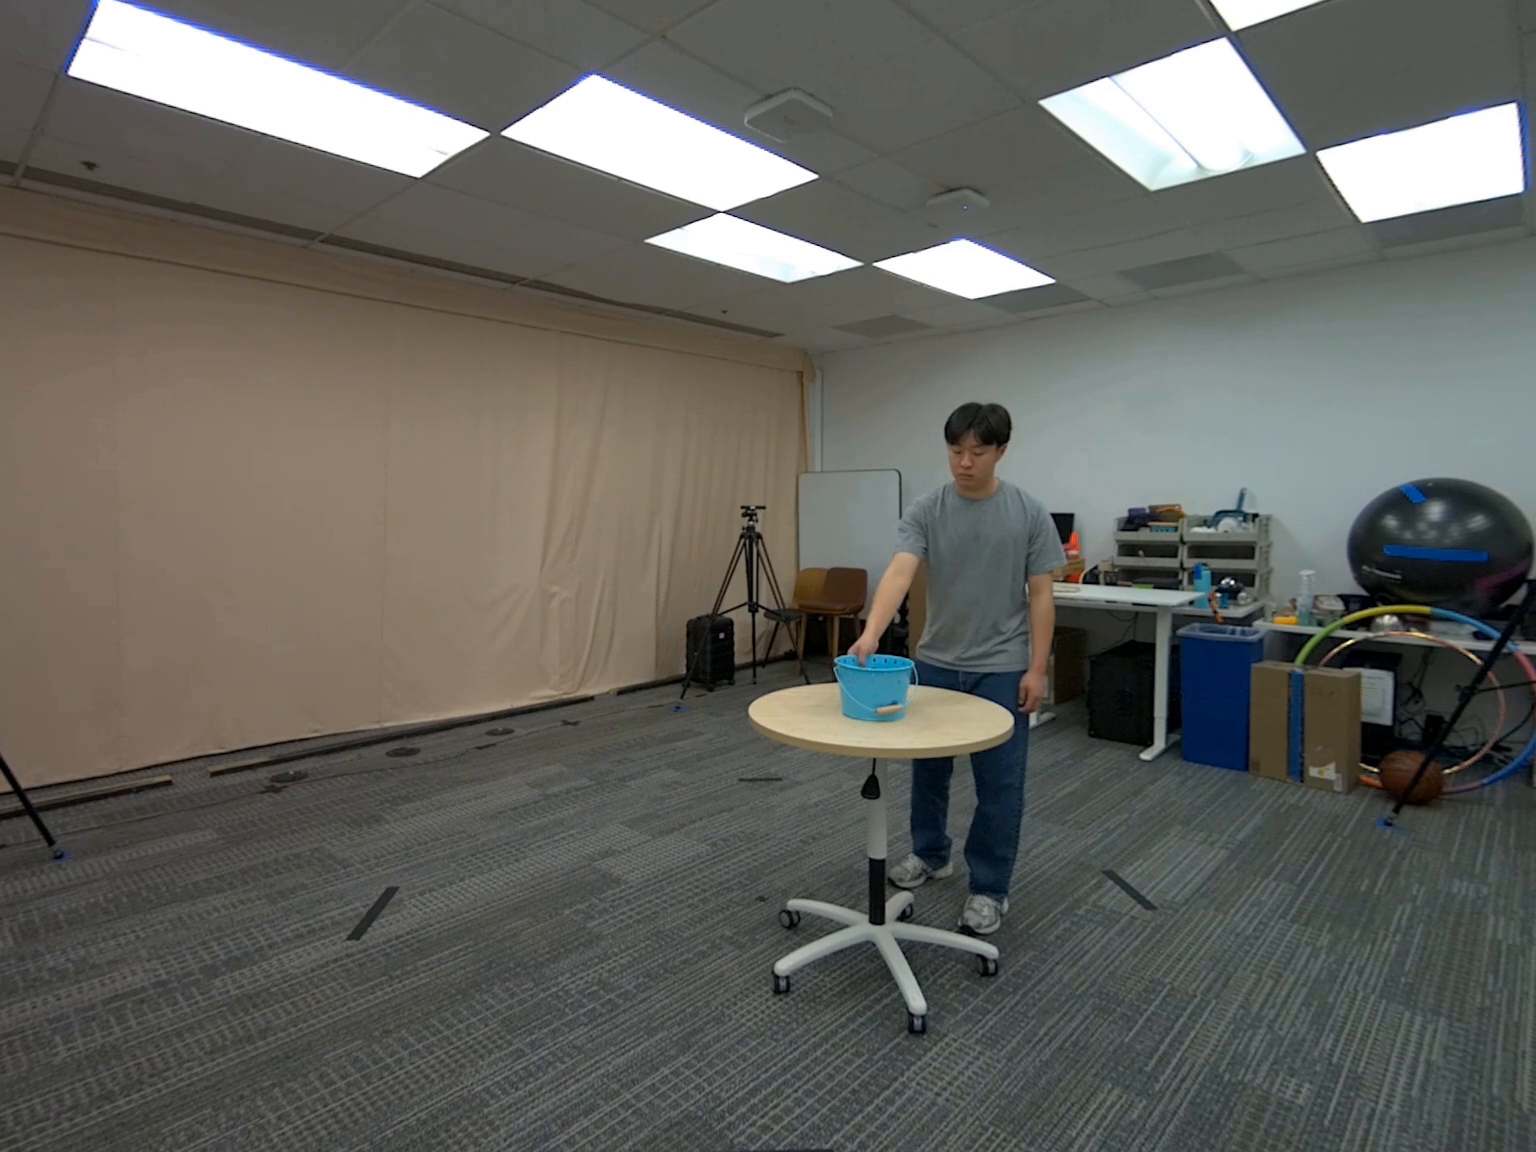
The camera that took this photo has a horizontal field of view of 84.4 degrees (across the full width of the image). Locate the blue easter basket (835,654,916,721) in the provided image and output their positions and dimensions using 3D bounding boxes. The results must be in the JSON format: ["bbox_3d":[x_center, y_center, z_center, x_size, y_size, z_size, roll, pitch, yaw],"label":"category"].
[{"bbox_3d":[0.317,0.316,2.465,0.243,0.155,0.244,1,4,-2],"label":"blue easter basket"}]
